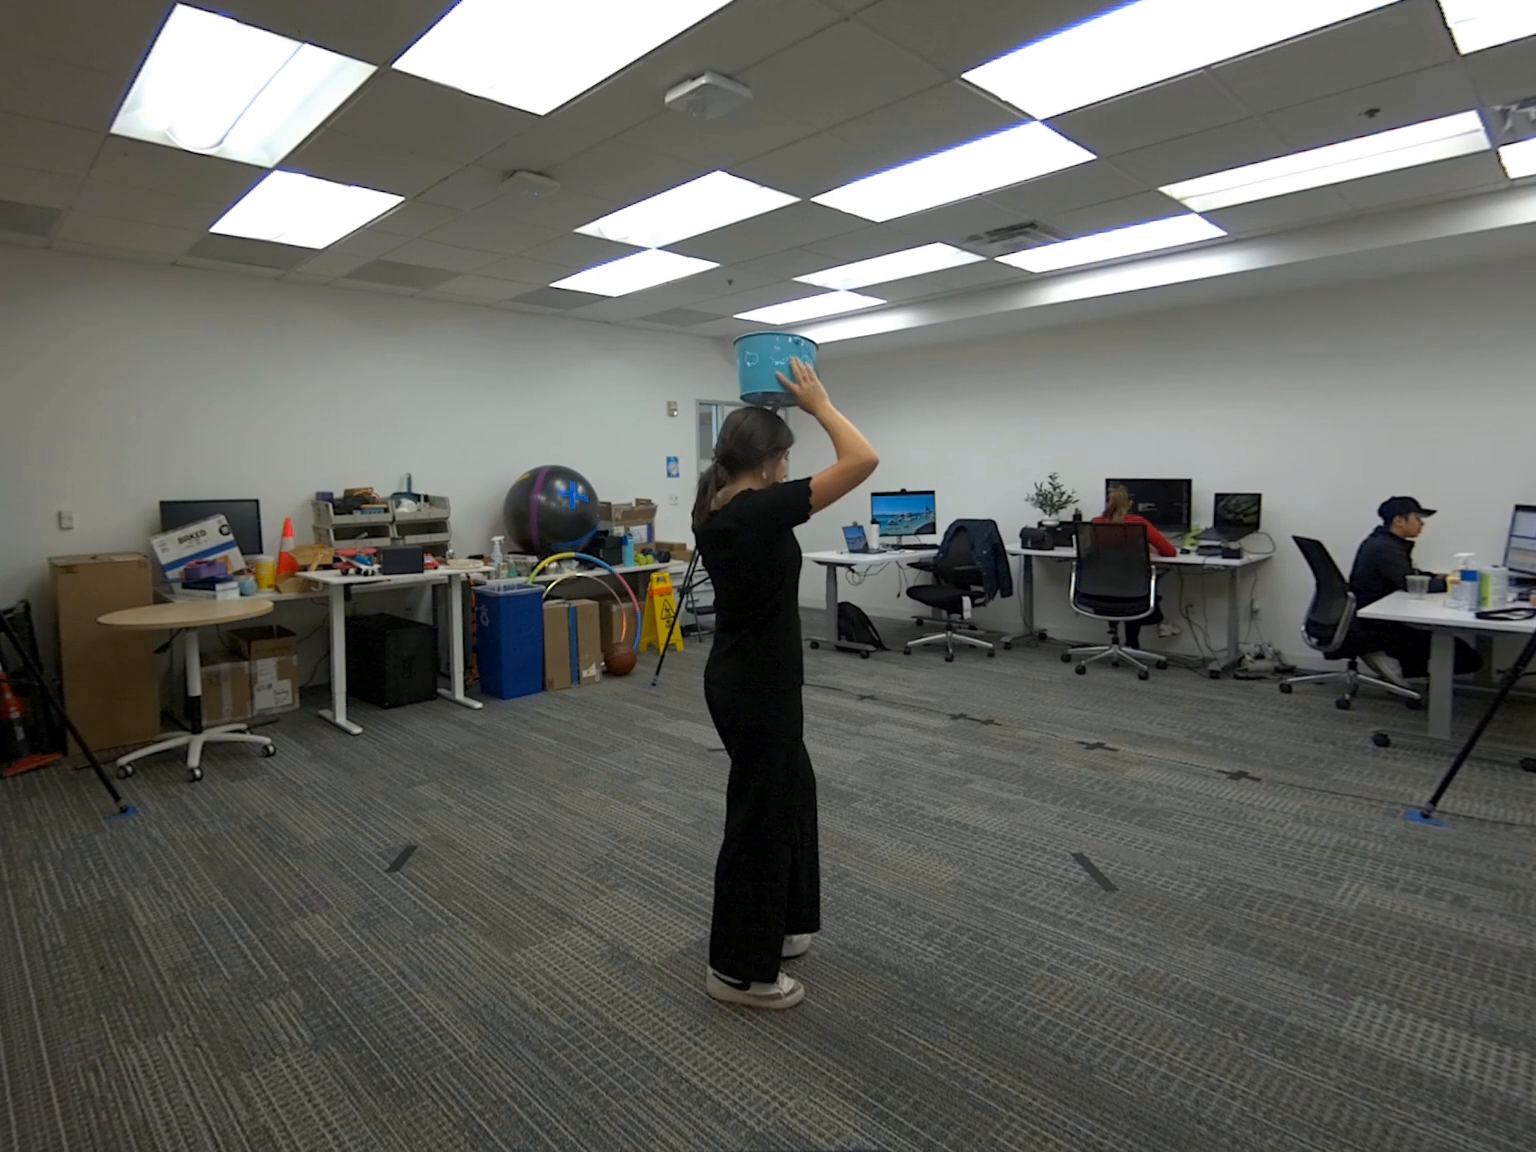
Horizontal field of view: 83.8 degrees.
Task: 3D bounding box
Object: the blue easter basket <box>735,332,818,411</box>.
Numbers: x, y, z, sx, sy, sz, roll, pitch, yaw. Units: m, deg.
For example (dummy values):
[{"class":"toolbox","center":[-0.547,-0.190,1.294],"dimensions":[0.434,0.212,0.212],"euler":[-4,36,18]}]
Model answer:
[{"class":"blue easter basket","center":[0.030,-0.556,2.310],"dimensions":[0.243,0.156,0.243],"euler":[-1,-3,-2]}]
